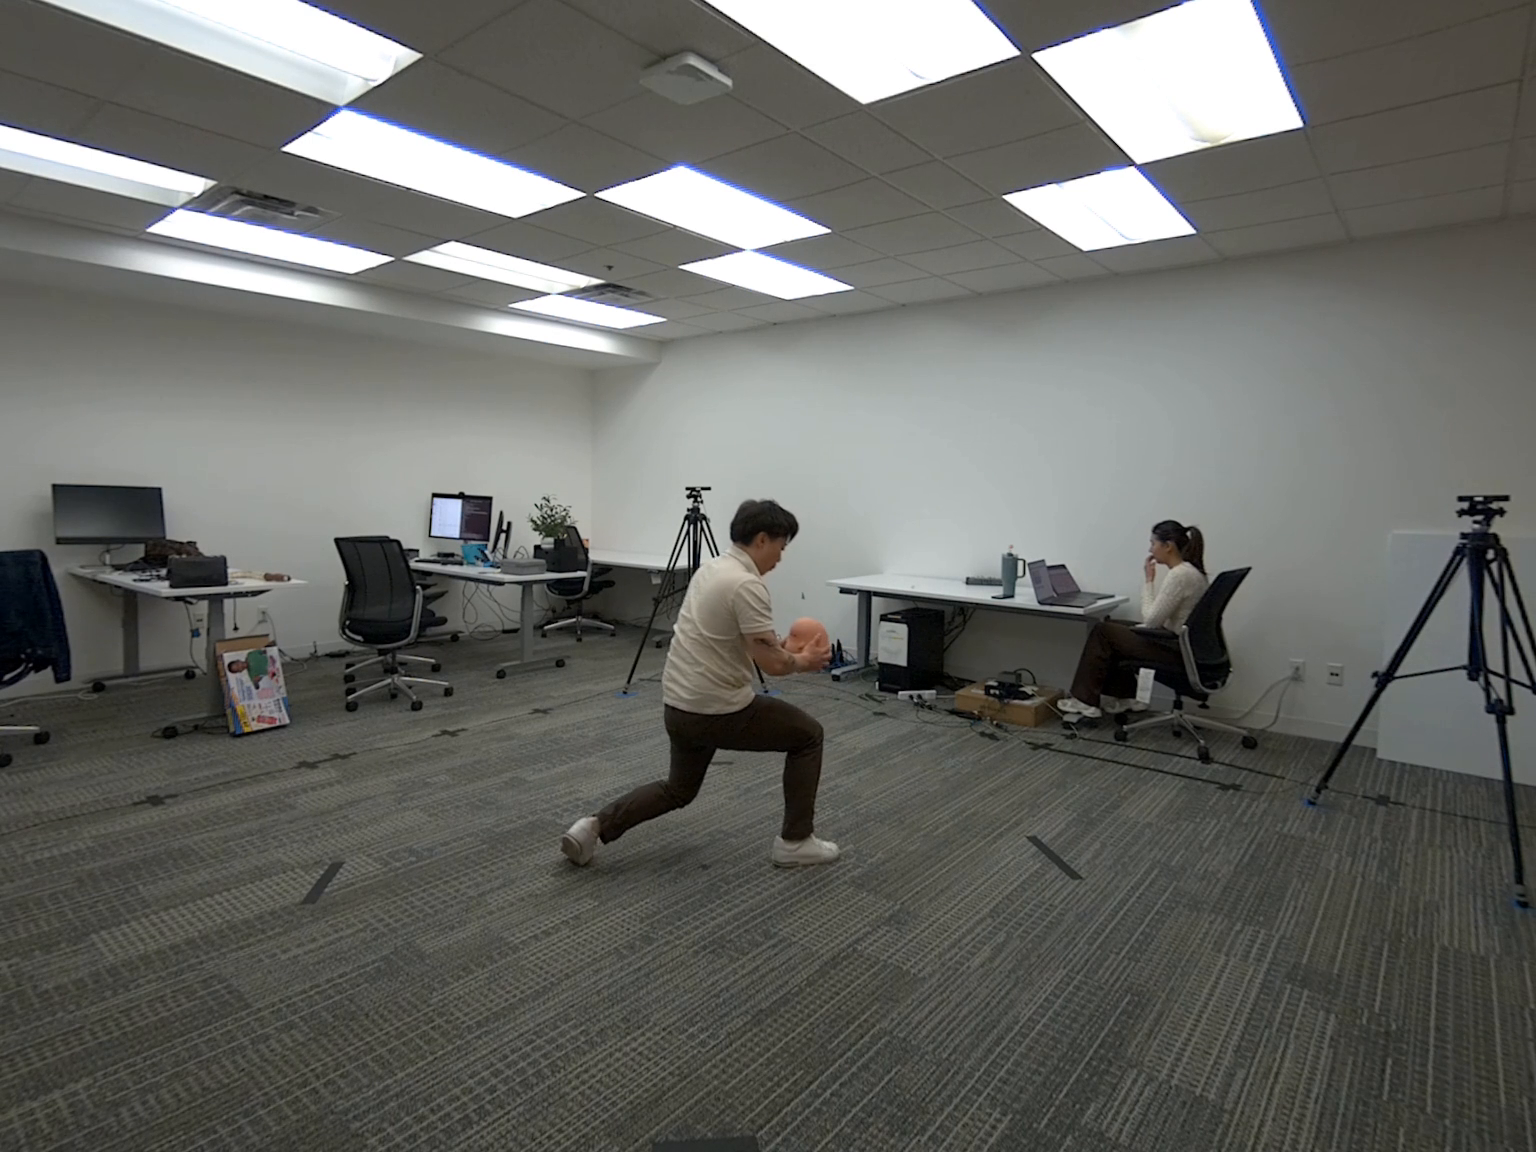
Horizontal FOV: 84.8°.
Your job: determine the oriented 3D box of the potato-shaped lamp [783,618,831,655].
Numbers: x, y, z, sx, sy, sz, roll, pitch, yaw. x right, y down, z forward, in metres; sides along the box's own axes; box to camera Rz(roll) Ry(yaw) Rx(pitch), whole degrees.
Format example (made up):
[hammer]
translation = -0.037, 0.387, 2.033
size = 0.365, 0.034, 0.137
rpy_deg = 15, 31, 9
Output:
[potato-shaped lamp]
translation = 0.119, 0.253, 3.226
size = 0.171, 0.197, 0.166
rpy_deg = 10, 7, -4
